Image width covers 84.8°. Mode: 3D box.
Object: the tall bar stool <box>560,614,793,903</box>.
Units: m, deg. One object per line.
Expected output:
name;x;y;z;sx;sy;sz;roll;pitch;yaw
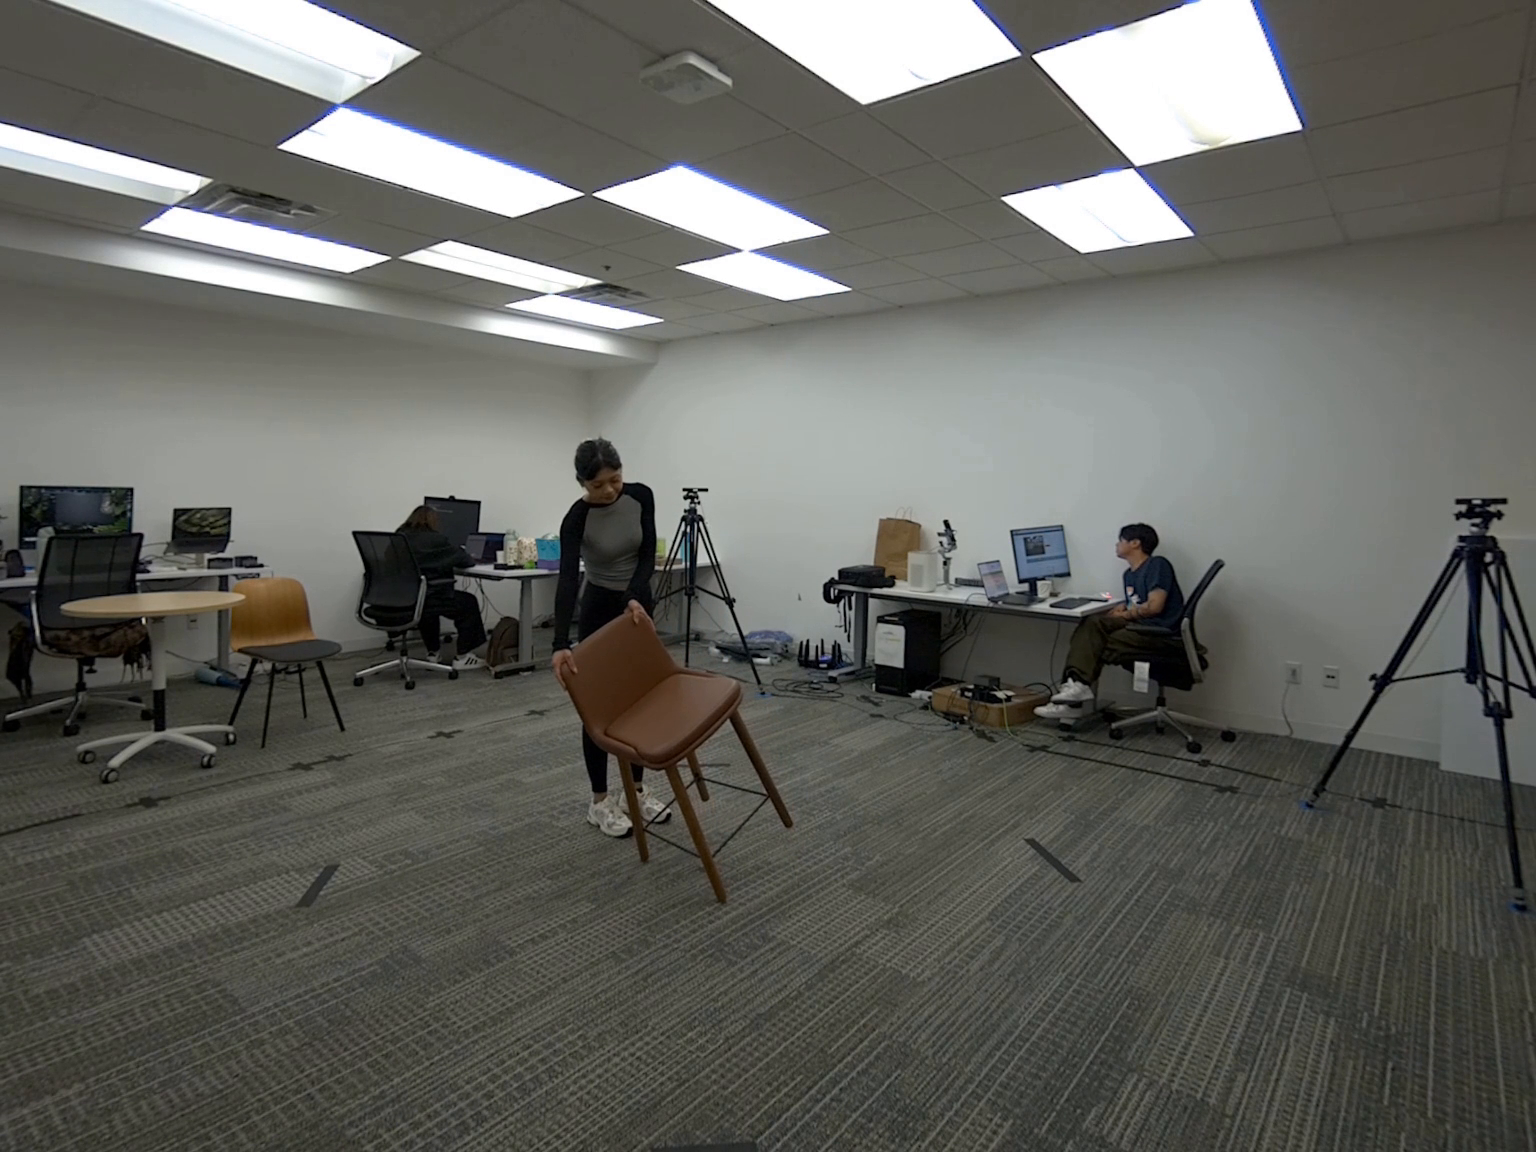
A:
tall bar stool;-0.332;0.599;3.001;0.482;0.871;0.452;0;26;44
